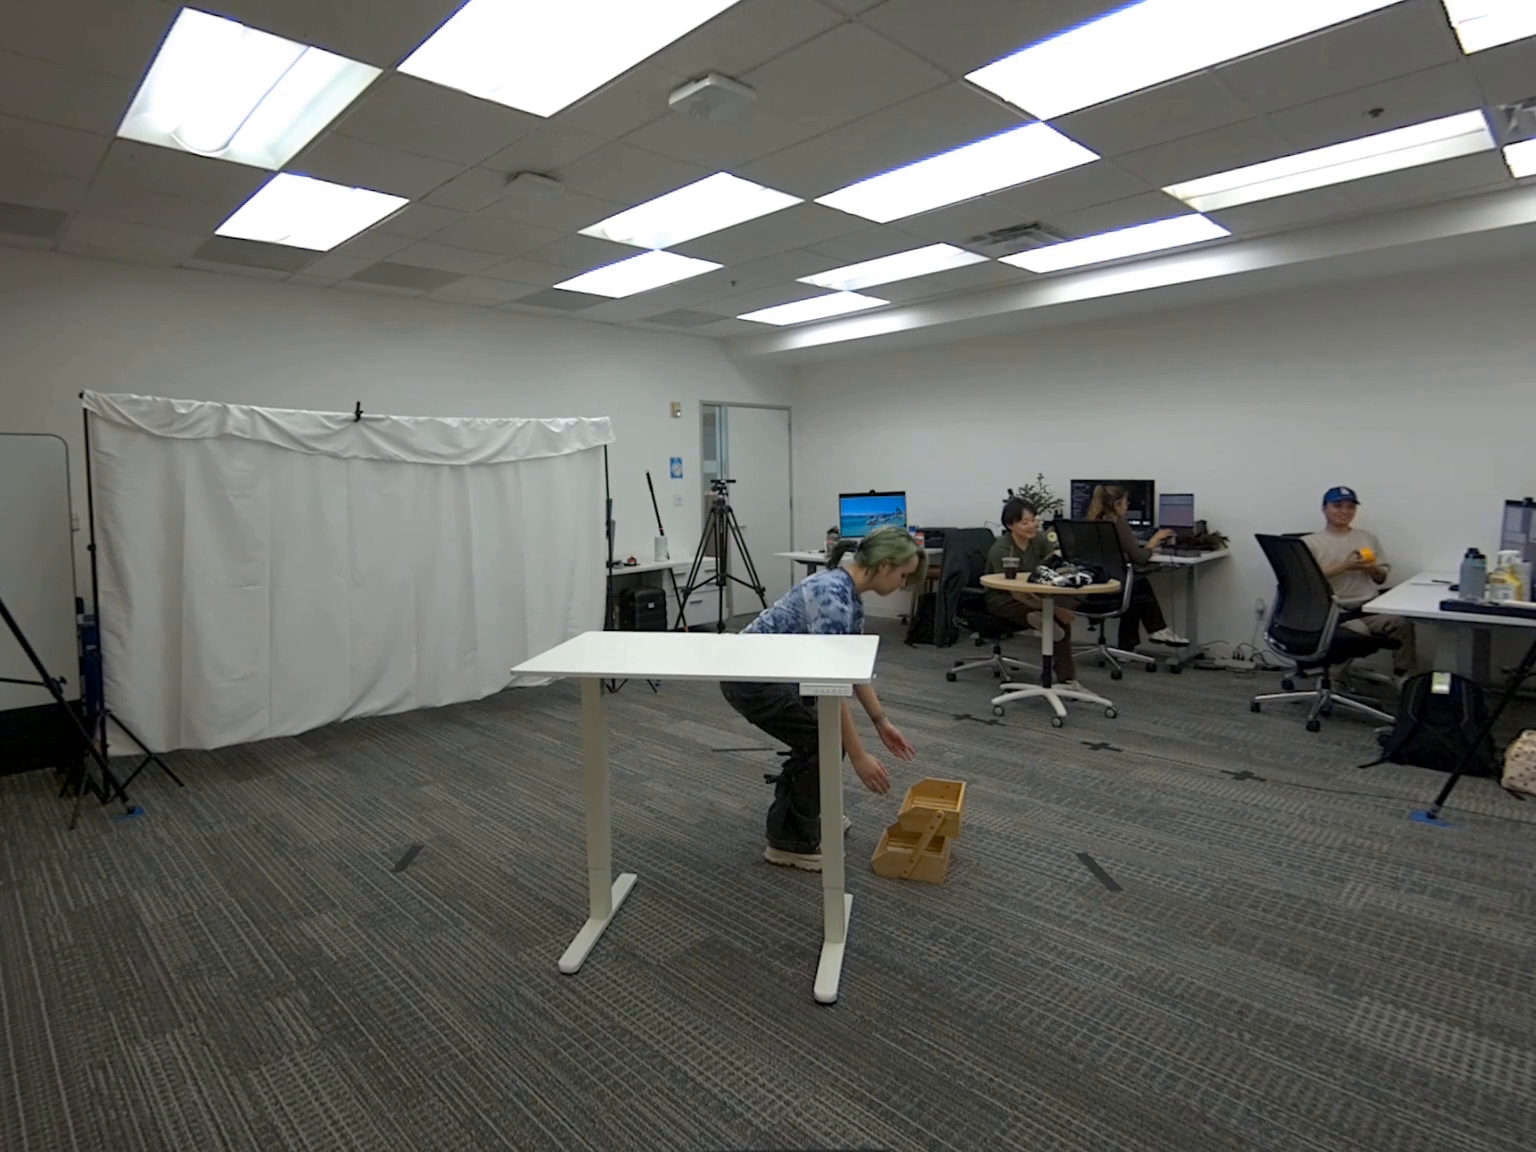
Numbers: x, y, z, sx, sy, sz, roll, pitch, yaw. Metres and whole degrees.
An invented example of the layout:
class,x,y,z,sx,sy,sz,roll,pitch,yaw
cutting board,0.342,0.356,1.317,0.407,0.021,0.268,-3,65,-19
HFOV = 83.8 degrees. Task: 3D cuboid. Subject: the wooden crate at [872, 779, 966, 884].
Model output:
class,x,y,z,sx,sy,sz,roll,pitch,yaw
wooden crate,0.537,0.900,3.092,0.308,0.272,0.320,1,5,19
